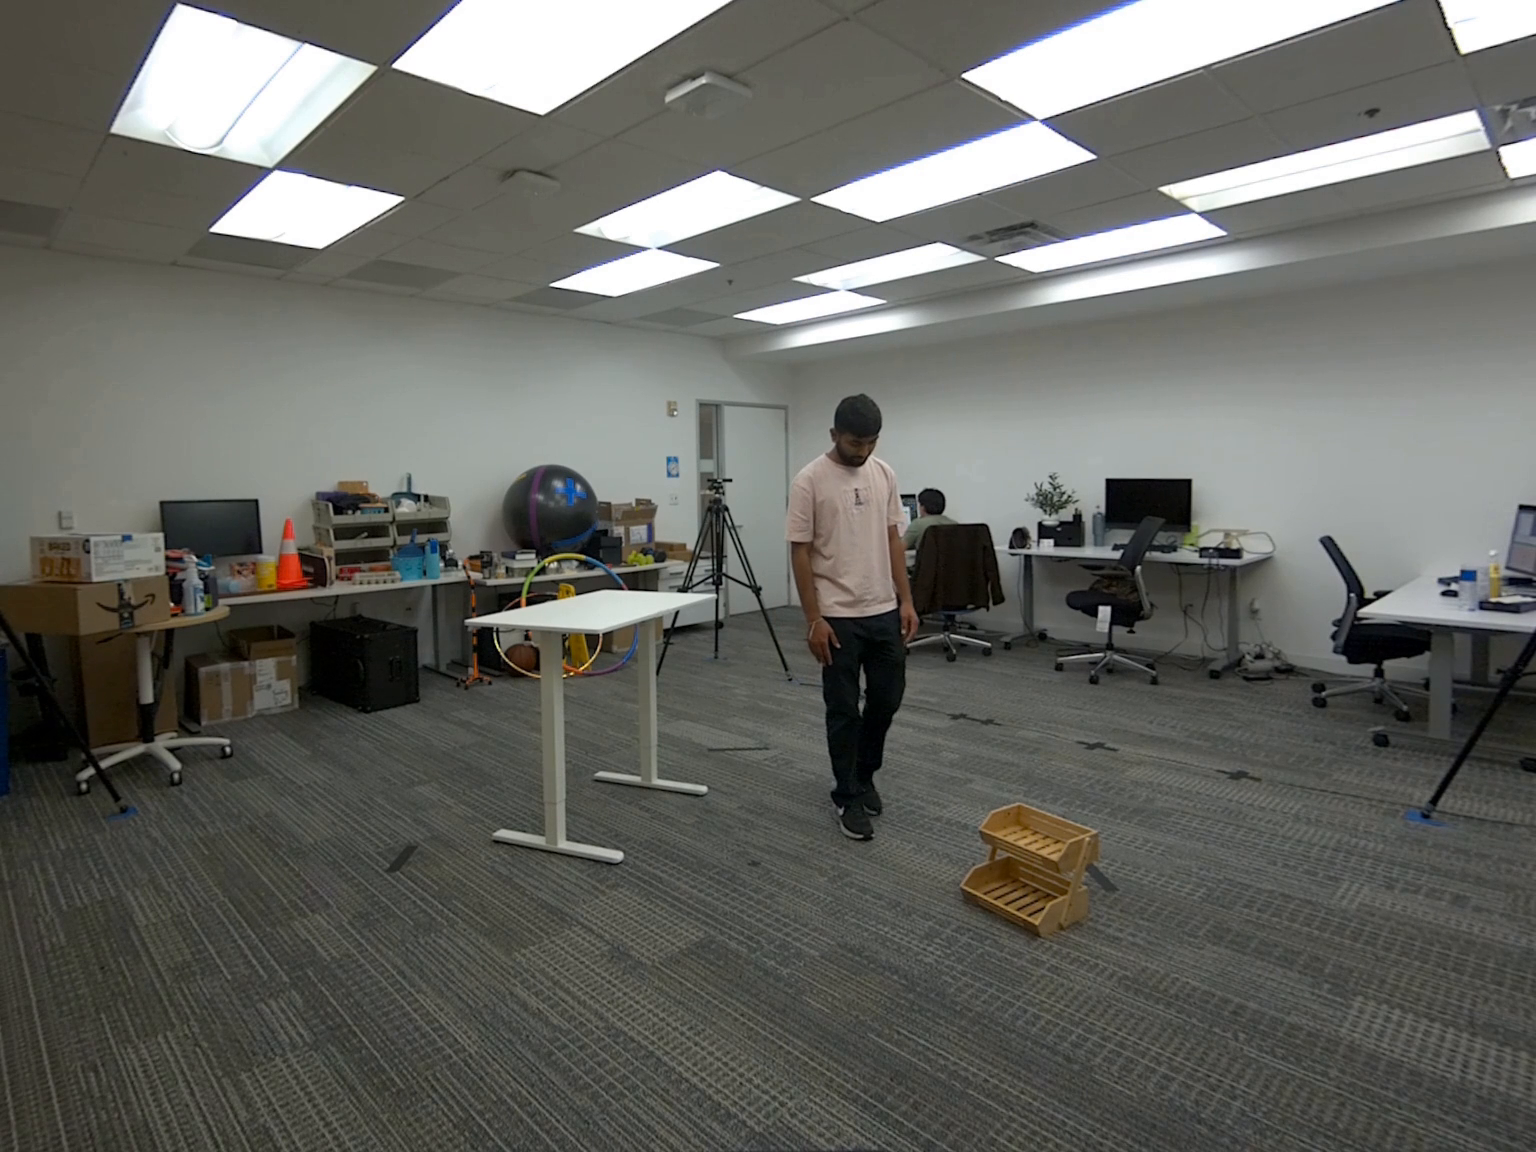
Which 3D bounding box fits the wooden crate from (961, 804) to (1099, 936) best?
[{"bbox_3d":[0.848,0.935,2.759,0.294,0.272,0.334,-4,6,-35],"label":"wooden crate"}]
